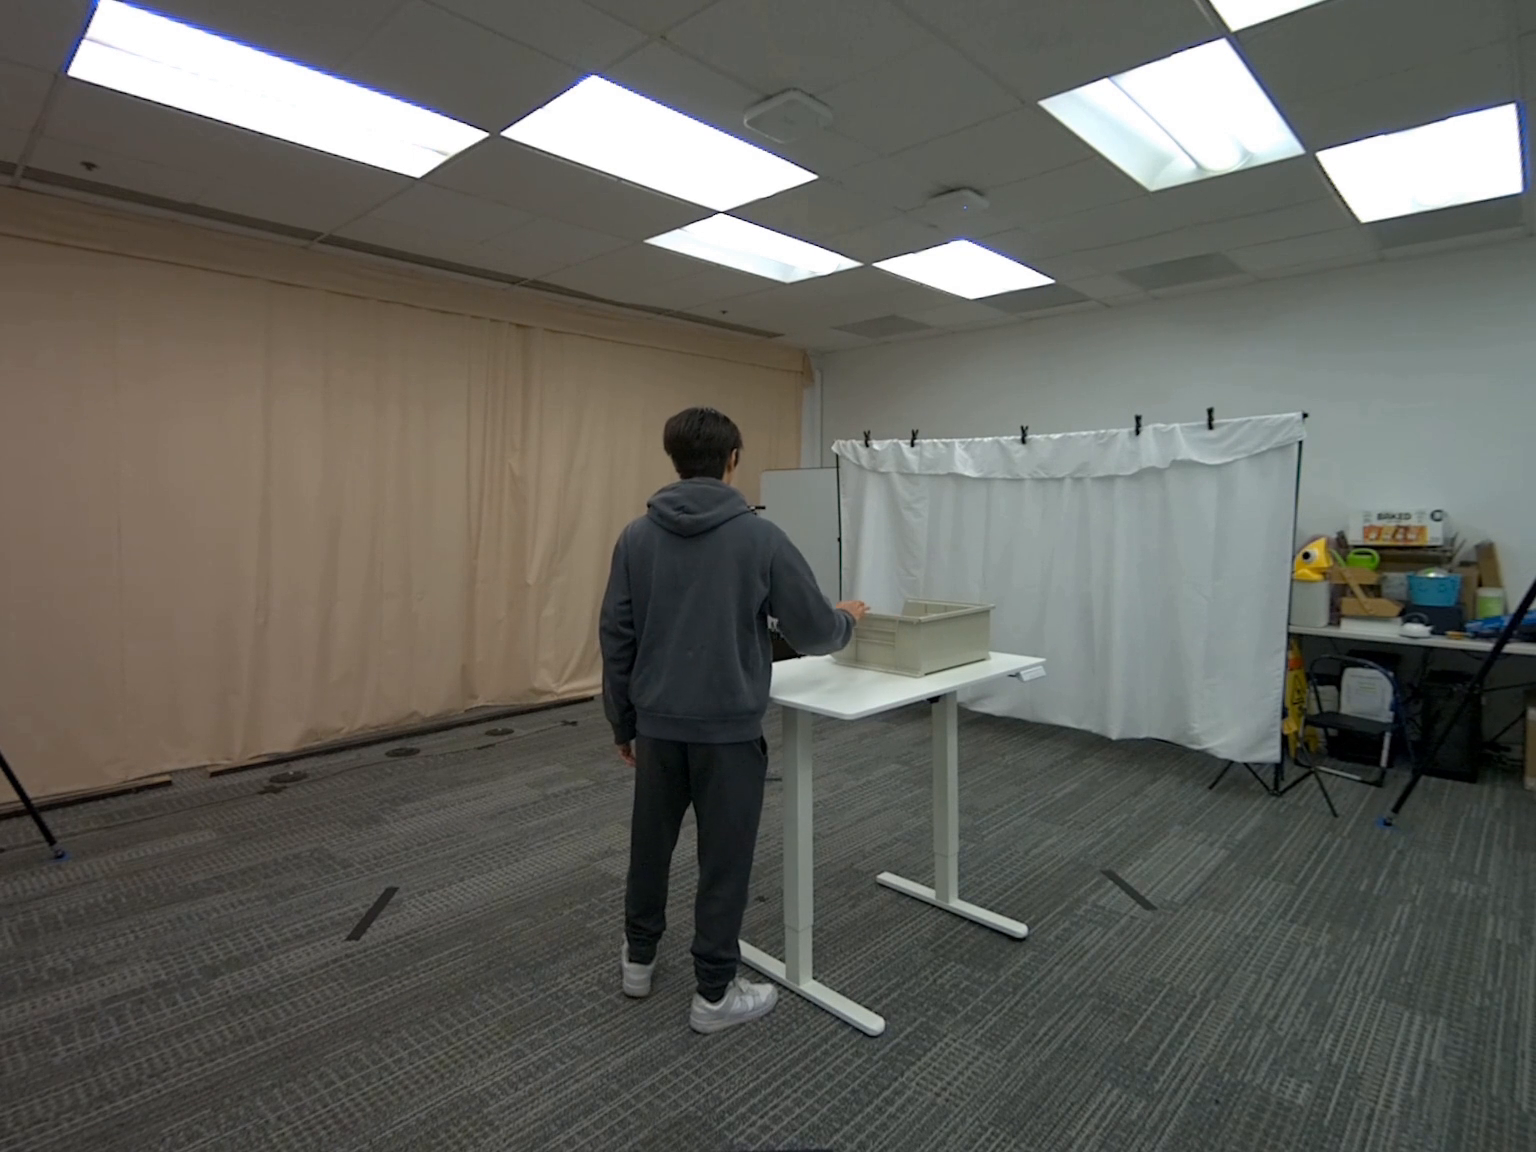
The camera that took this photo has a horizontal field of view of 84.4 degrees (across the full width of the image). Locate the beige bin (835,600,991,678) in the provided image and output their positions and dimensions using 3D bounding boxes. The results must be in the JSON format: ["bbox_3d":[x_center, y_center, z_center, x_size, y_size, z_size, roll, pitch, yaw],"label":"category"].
[{"bbox_3d":[0.464,0.191,2.736,0.409,0.188,0.390,-5,7,-44],"label":"beige bin"}]
